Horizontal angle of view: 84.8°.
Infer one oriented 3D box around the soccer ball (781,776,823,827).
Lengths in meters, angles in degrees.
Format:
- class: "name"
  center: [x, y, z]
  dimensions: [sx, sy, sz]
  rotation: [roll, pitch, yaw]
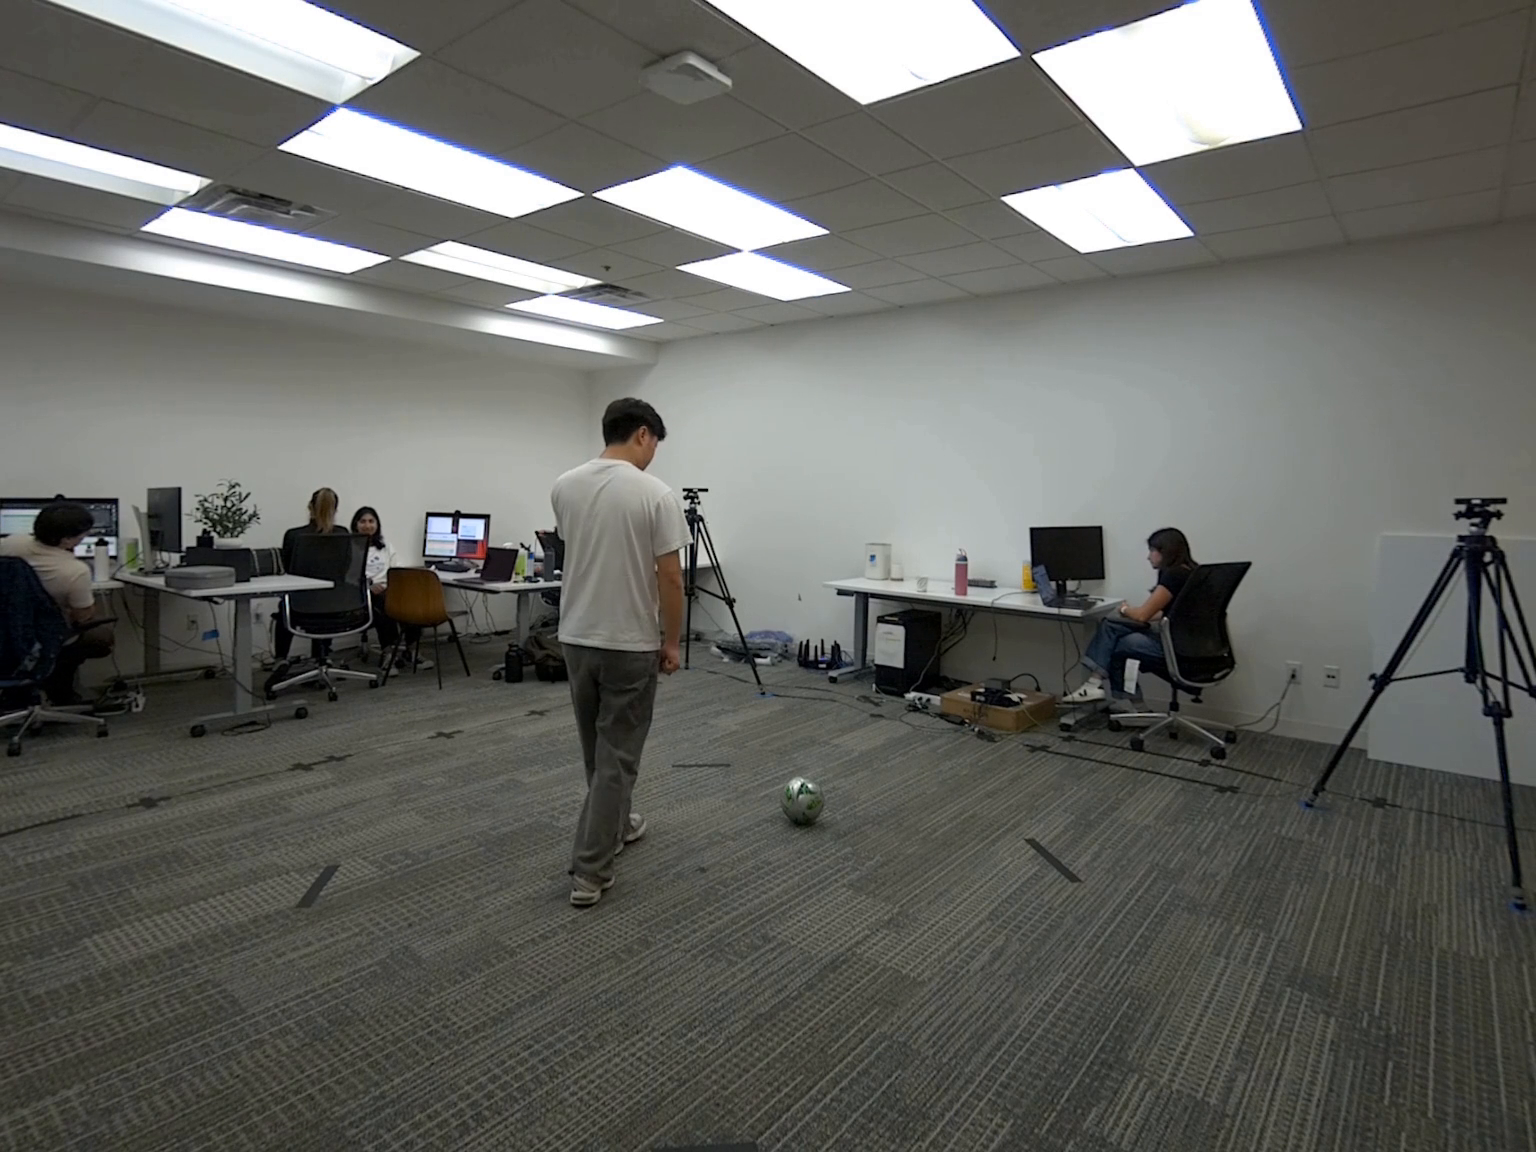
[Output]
- class: "soccer ball"
  center: [0.145, 0.930, 3.573]
  dimensions: [0.187, 0.187, 0.188]
  rotation: [1, 4, -2]
